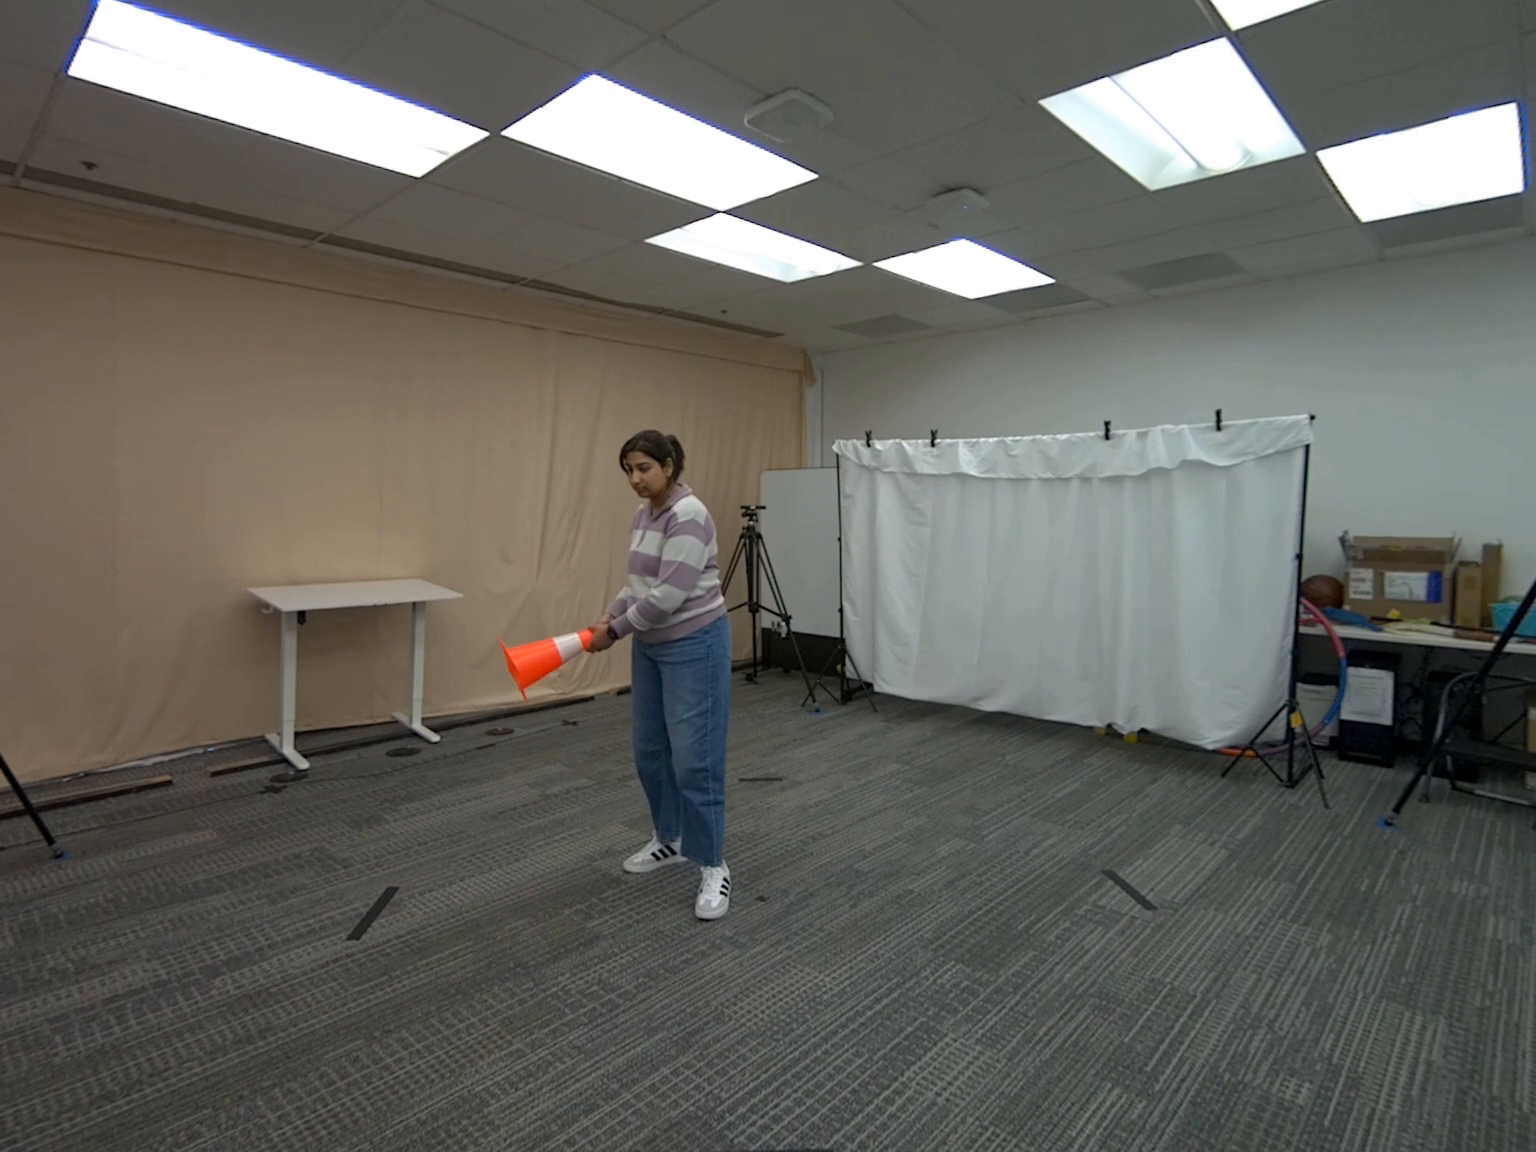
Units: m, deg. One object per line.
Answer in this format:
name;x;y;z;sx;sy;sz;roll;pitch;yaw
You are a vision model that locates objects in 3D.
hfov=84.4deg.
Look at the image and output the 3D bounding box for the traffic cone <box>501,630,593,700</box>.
traffic cone;-0.731;0.266;3.040;0.379;0.199;0.212;-21;44;-17
